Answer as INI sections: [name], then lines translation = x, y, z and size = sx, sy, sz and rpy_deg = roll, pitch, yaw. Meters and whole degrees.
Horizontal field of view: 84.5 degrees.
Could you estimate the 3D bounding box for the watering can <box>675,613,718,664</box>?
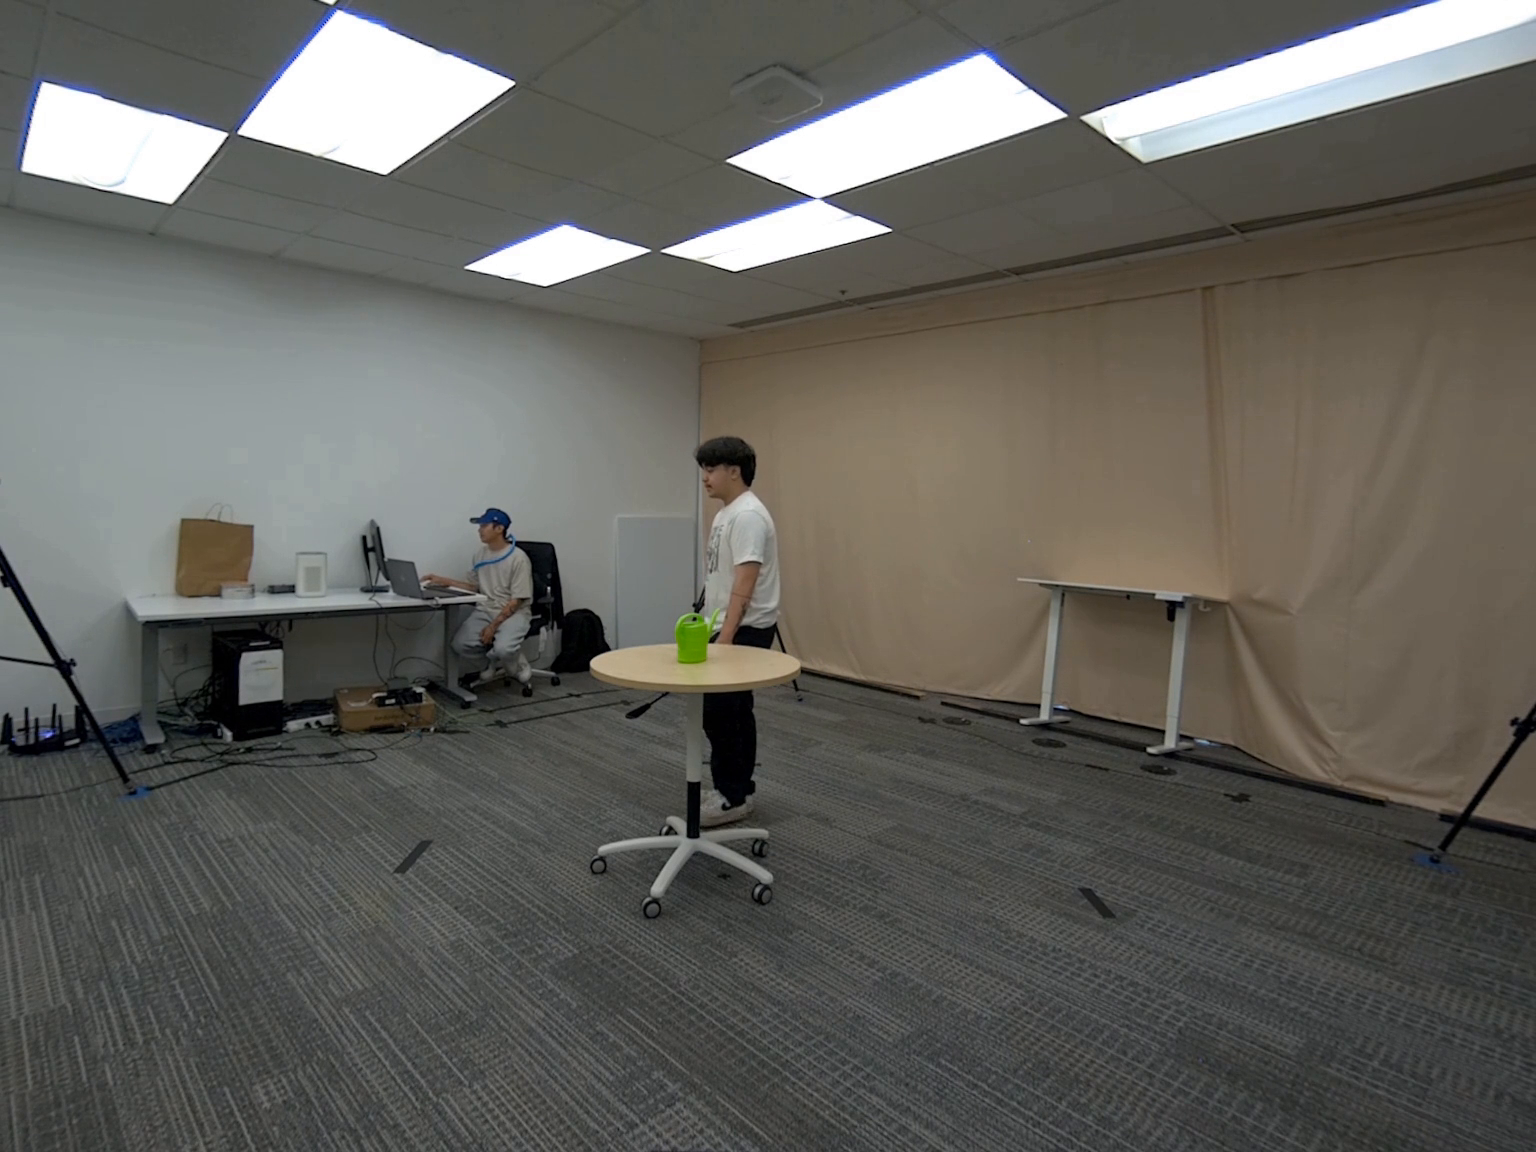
[watering can]
translation = -0.266, 0.218, 3.123
size = 0.100, 0.176, 0.272
rpy_deg = 5, 7, 41
